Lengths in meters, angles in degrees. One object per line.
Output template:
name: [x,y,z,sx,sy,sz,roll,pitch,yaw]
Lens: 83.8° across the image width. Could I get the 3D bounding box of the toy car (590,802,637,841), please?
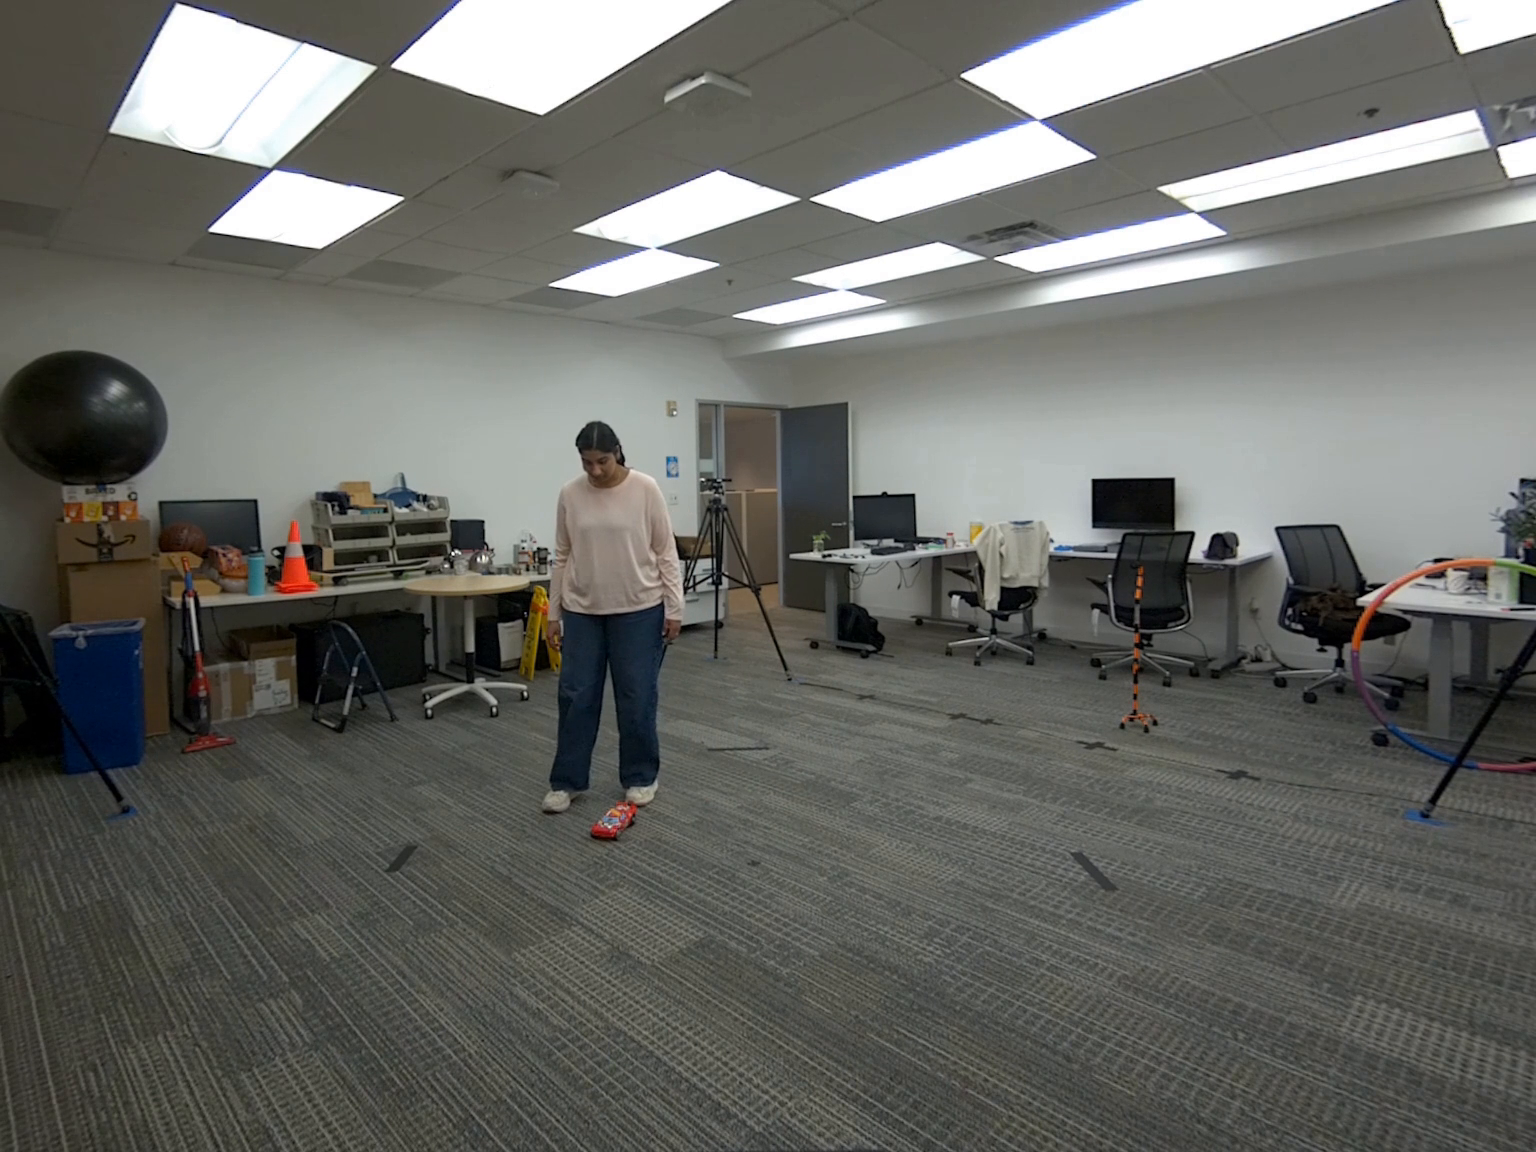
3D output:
toy car: [-0.617,0.993,3.438,0.132,0.082,0.254,0,17,15]
